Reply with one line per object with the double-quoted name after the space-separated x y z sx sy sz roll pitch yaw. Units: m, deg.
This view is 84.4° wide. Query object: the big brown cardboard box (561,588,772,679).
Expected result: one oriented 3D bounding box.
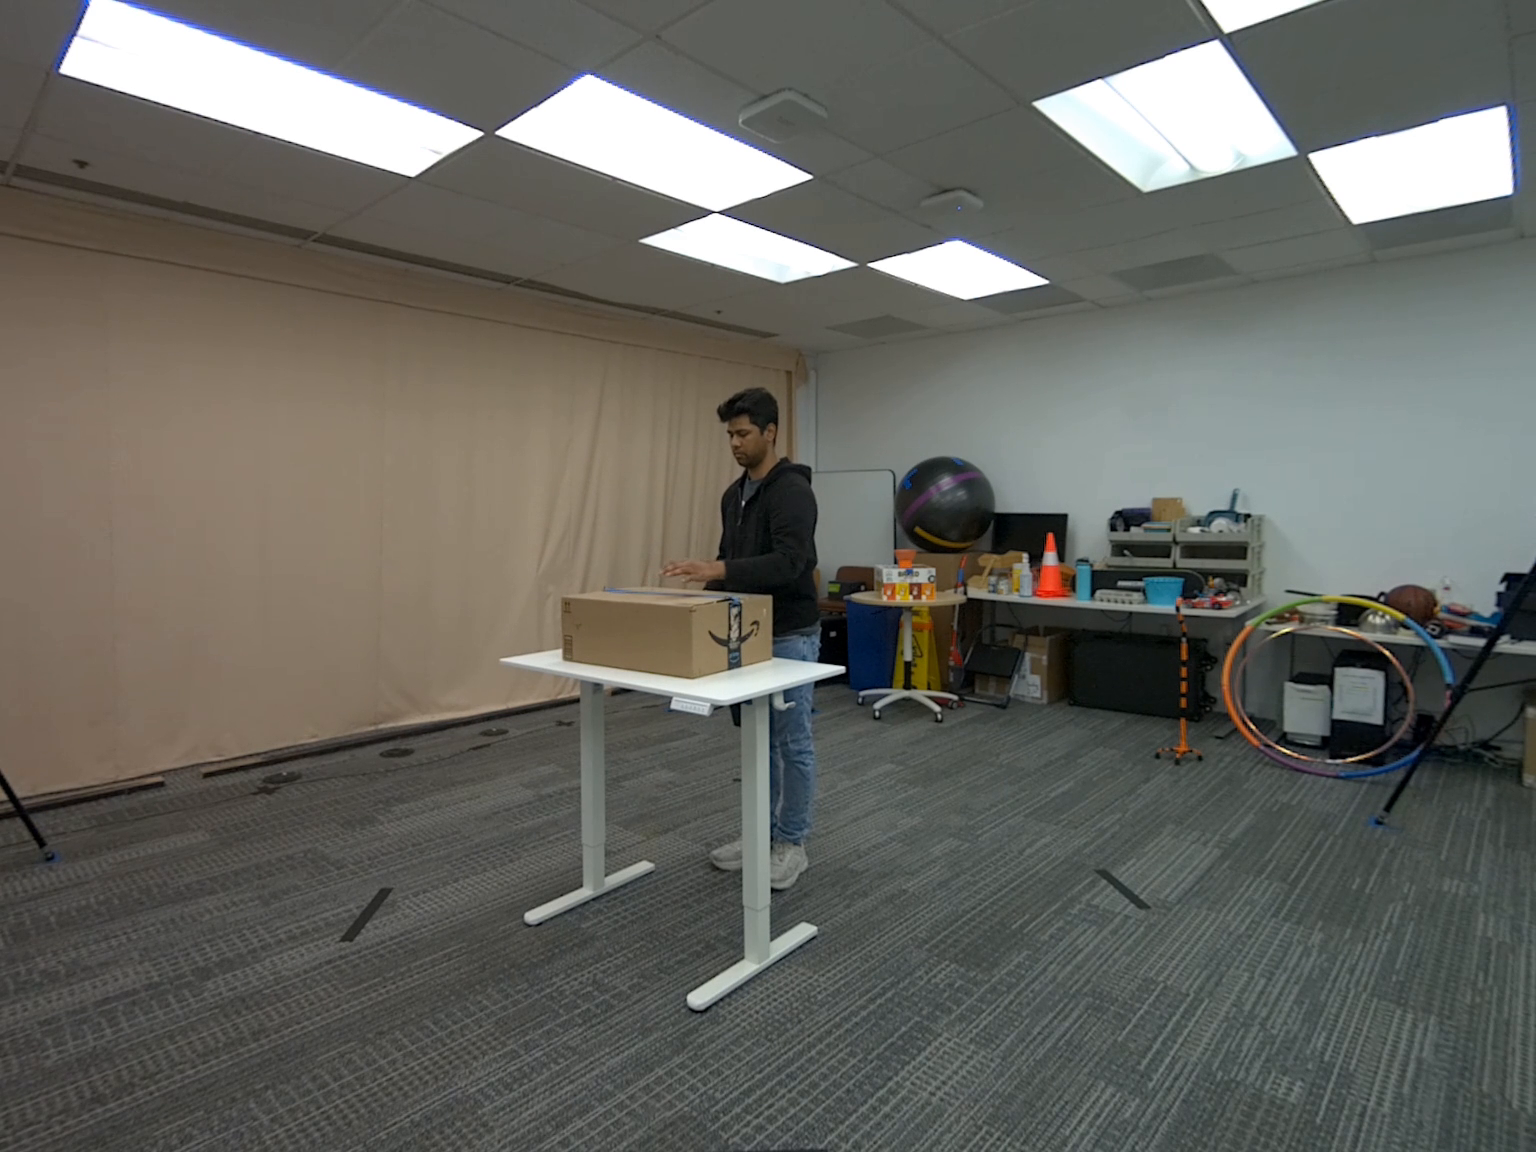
-0.330 0.170 2.796 0.607 0.233 0.405 1 4 36 "big brown cardboard box"
